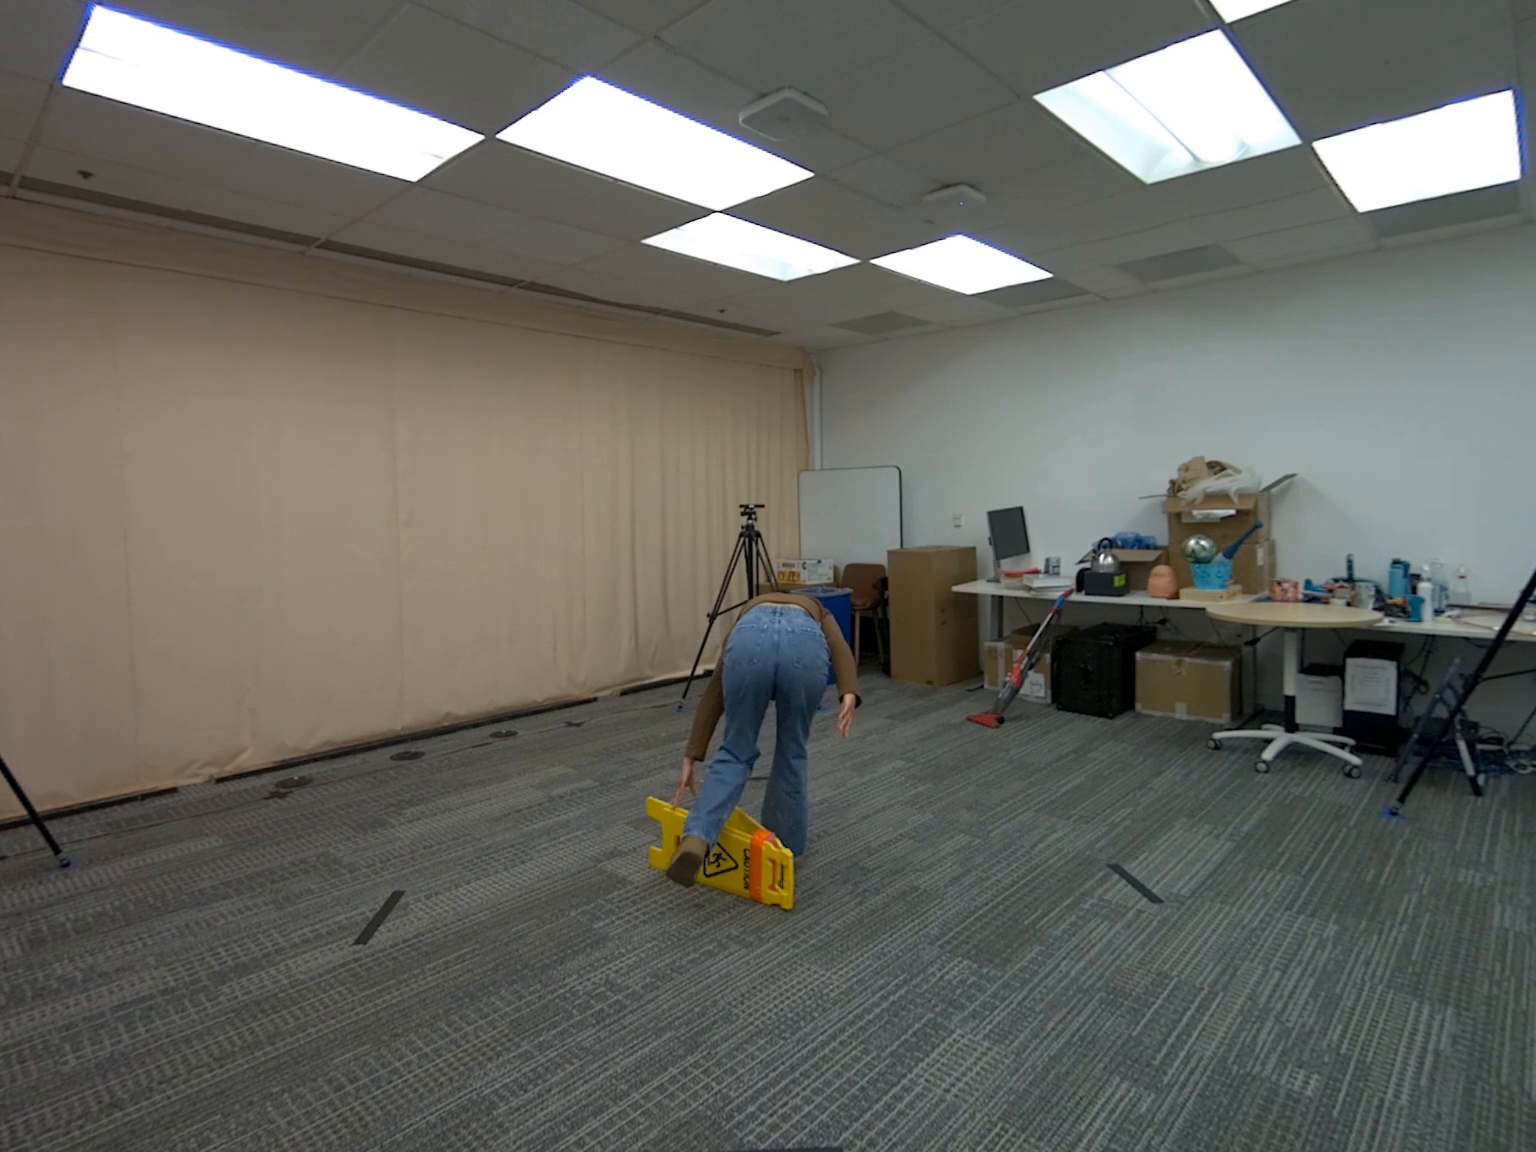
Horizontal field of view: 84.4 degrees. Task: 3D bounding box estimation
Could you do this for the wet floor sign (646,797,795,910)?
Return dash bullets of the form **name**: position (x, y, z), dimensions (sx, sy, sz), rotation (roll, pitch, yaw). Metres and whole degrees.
- **wet floor sign**: position (-0.141, 1.006, 3.105), dimensions (0.281, 0.281, 0.668), rotation (-7, 10, -42)
